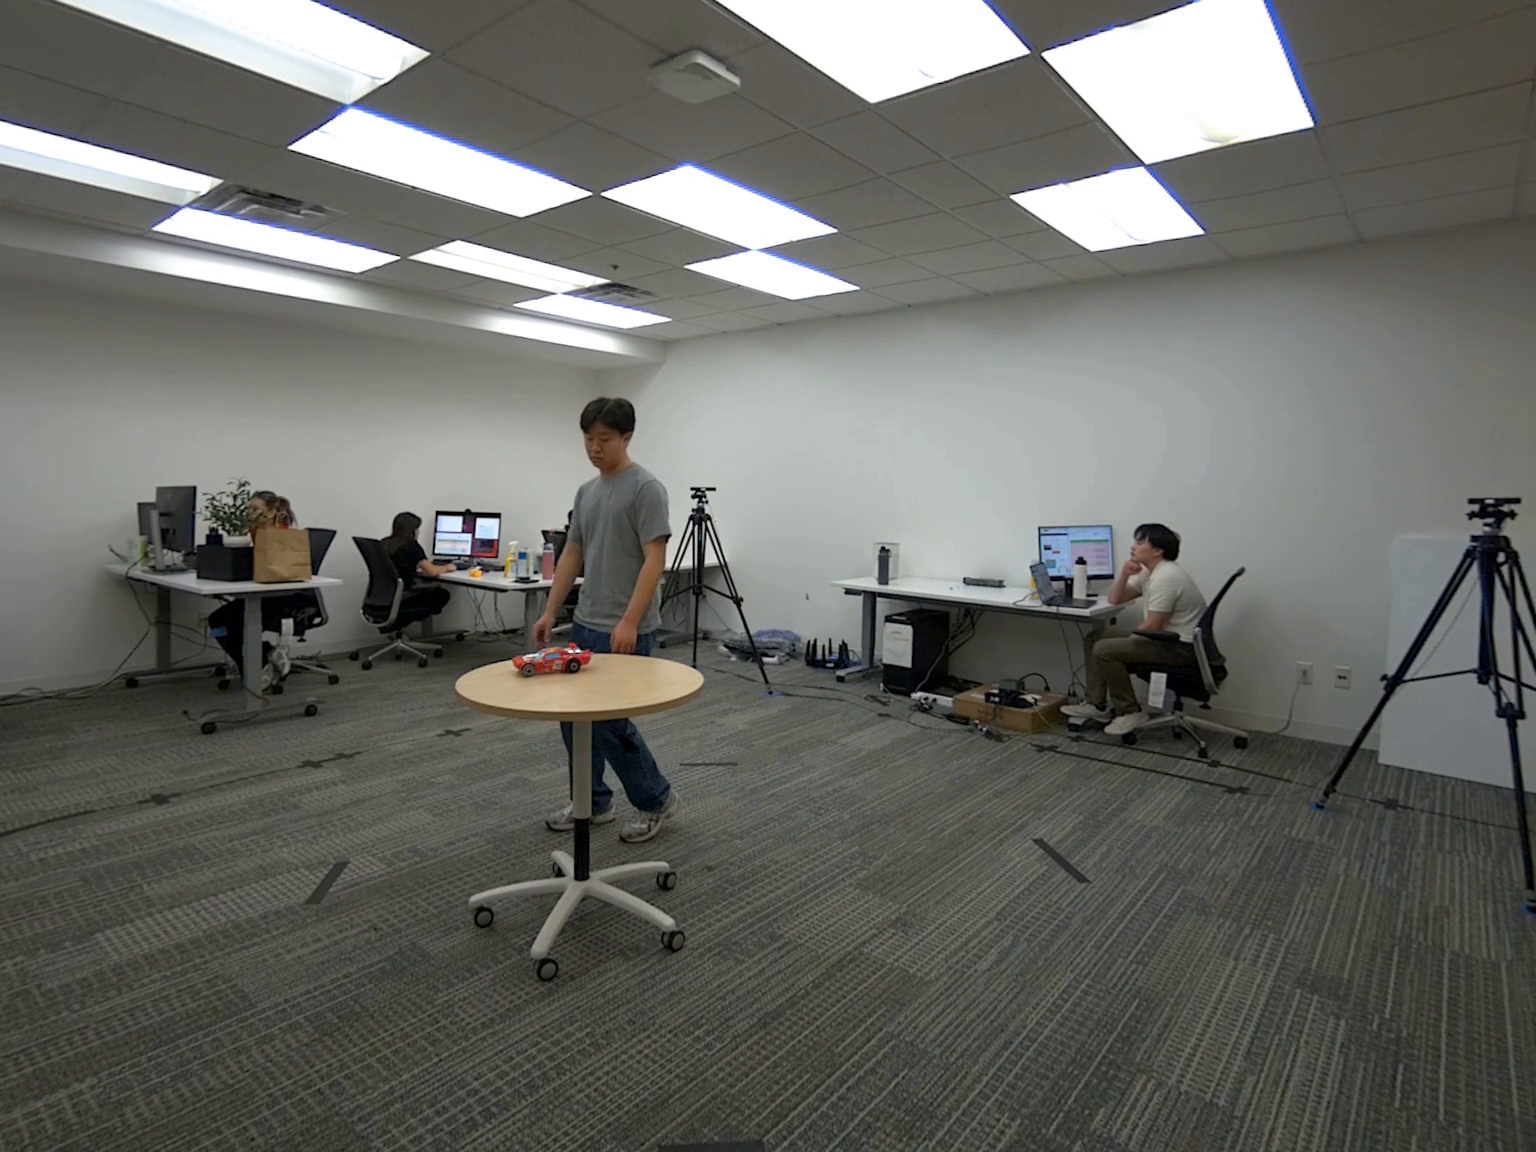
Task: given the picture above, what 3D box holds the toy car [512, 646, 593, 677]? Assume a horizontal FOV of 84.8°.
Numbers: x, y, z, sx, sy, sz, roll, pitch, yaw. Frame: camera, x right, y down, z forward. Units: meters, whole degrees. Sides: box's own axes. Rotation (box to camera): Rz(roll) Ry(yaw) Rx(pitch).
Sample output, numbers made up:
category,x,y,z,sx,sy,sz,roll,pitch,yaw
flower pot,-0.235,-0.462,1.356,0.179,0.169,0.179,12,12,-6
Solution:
category,x,y,z,sx,sy,sz,roll,pitch,yaw
toy car,-0.716,0.276,2.765,0.250,0.082,0.134,-14,11,-24
